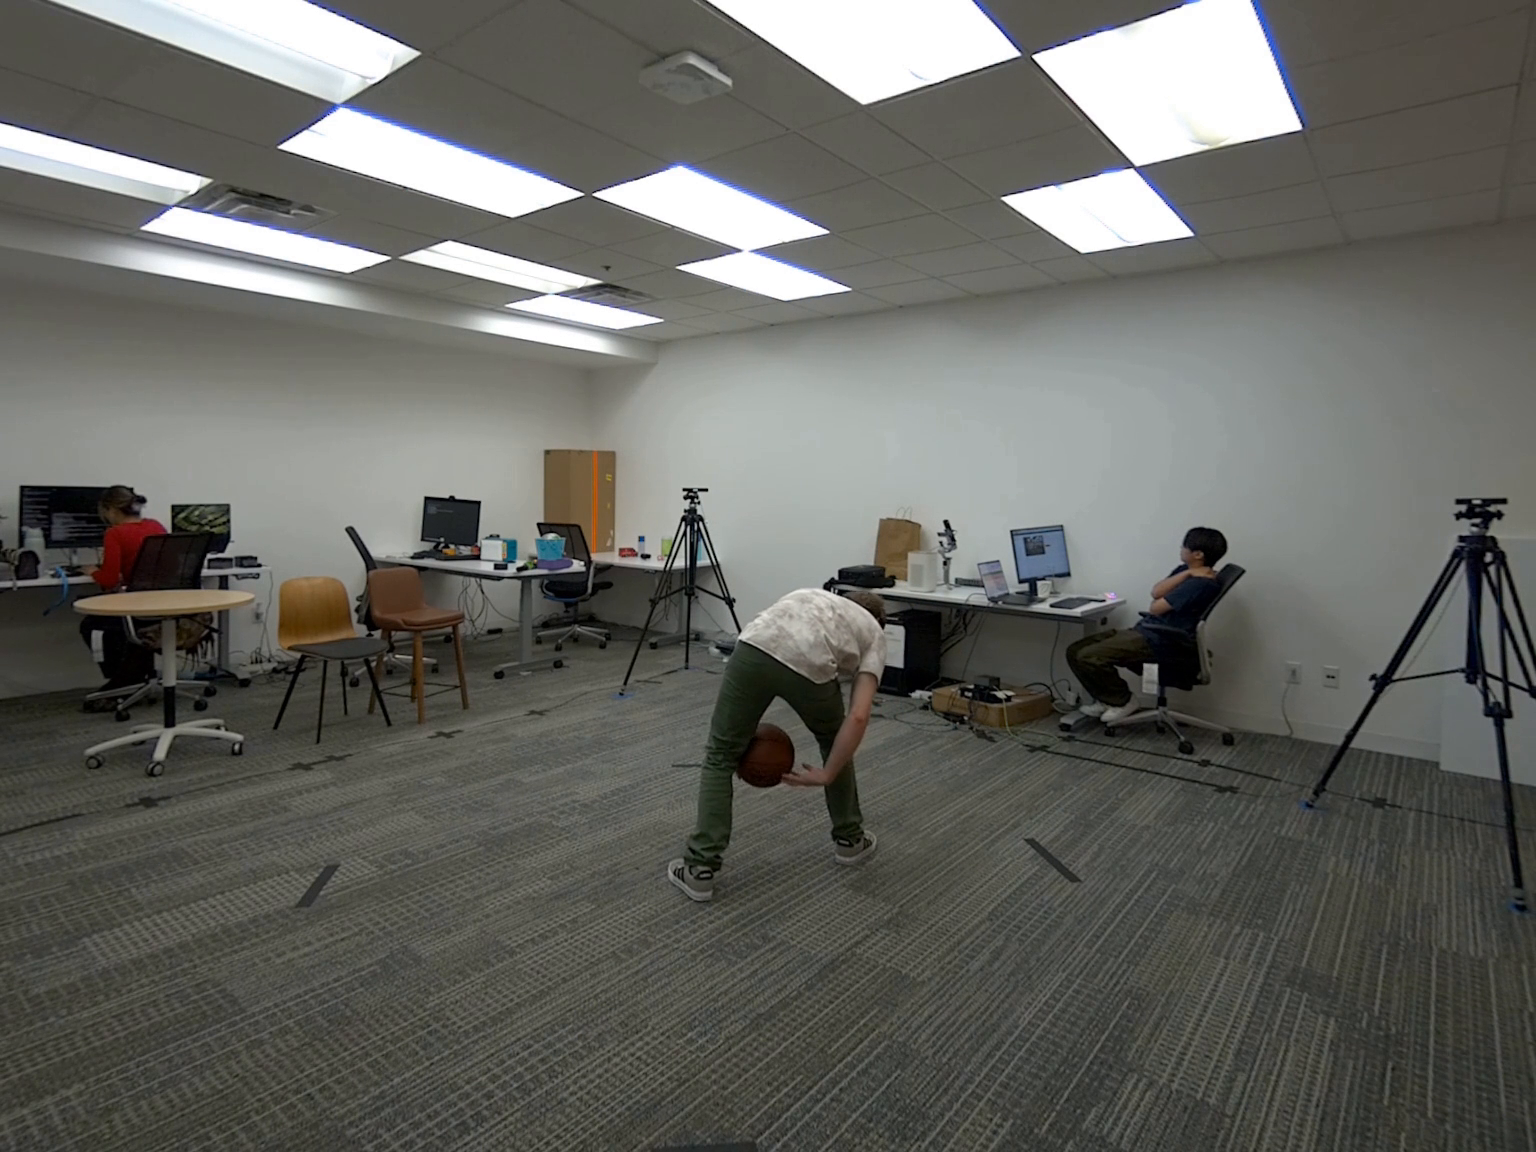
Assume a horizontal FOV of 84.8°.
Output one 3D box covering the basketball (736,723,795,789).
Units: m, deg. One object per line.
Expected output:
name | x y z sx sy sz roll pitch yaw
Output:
basketball | -0.019 0.670 3.203 0.235 0.235 0.237 1 4 -2
